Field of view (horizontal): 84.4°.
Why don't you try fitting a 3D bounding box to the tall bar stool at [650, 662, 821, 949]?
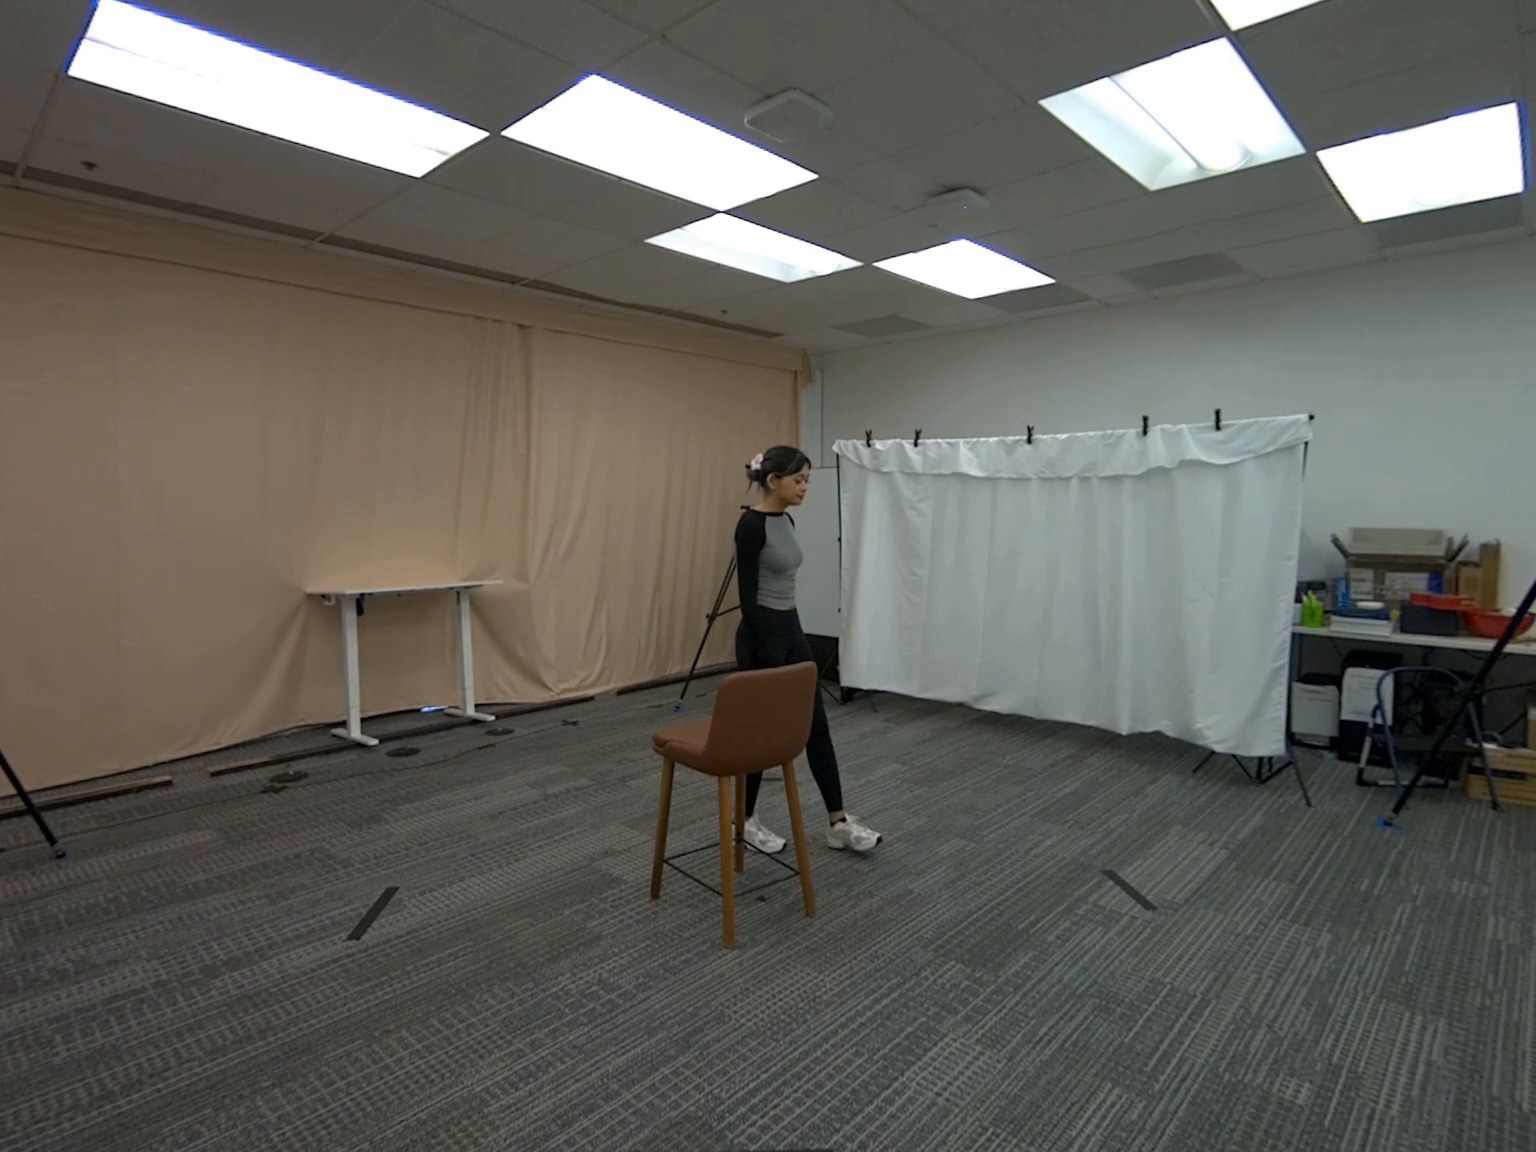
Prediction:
[{"bbox_3d":[-0.122,0.716,2.899,0.443,0.887,0.483,-3,7,-38],"label":"tall bar stool"}]
